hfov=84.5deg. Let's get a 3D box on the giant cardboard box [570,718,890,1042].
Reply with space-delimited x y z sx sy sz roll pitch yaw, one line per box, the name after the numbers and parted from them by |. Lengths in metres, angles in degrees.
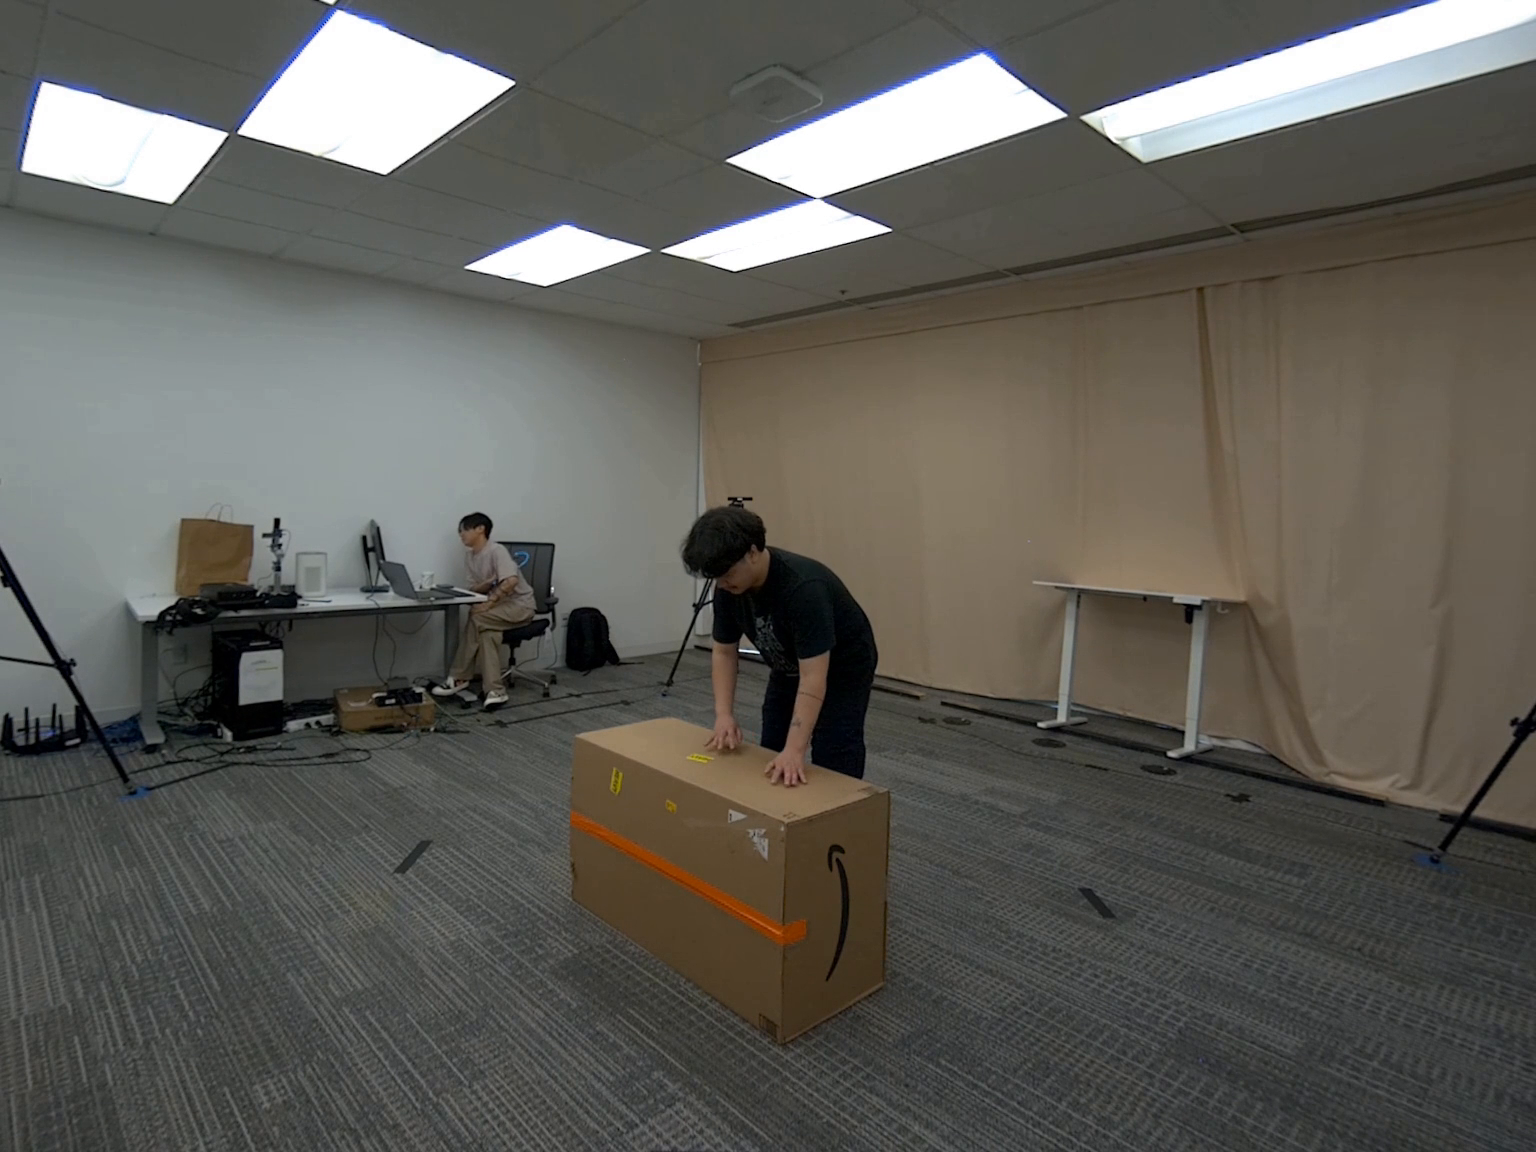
-0.172 0.864 2.641 0.437 0.582 1.053 -3 6 -43 | giant cardboard box
